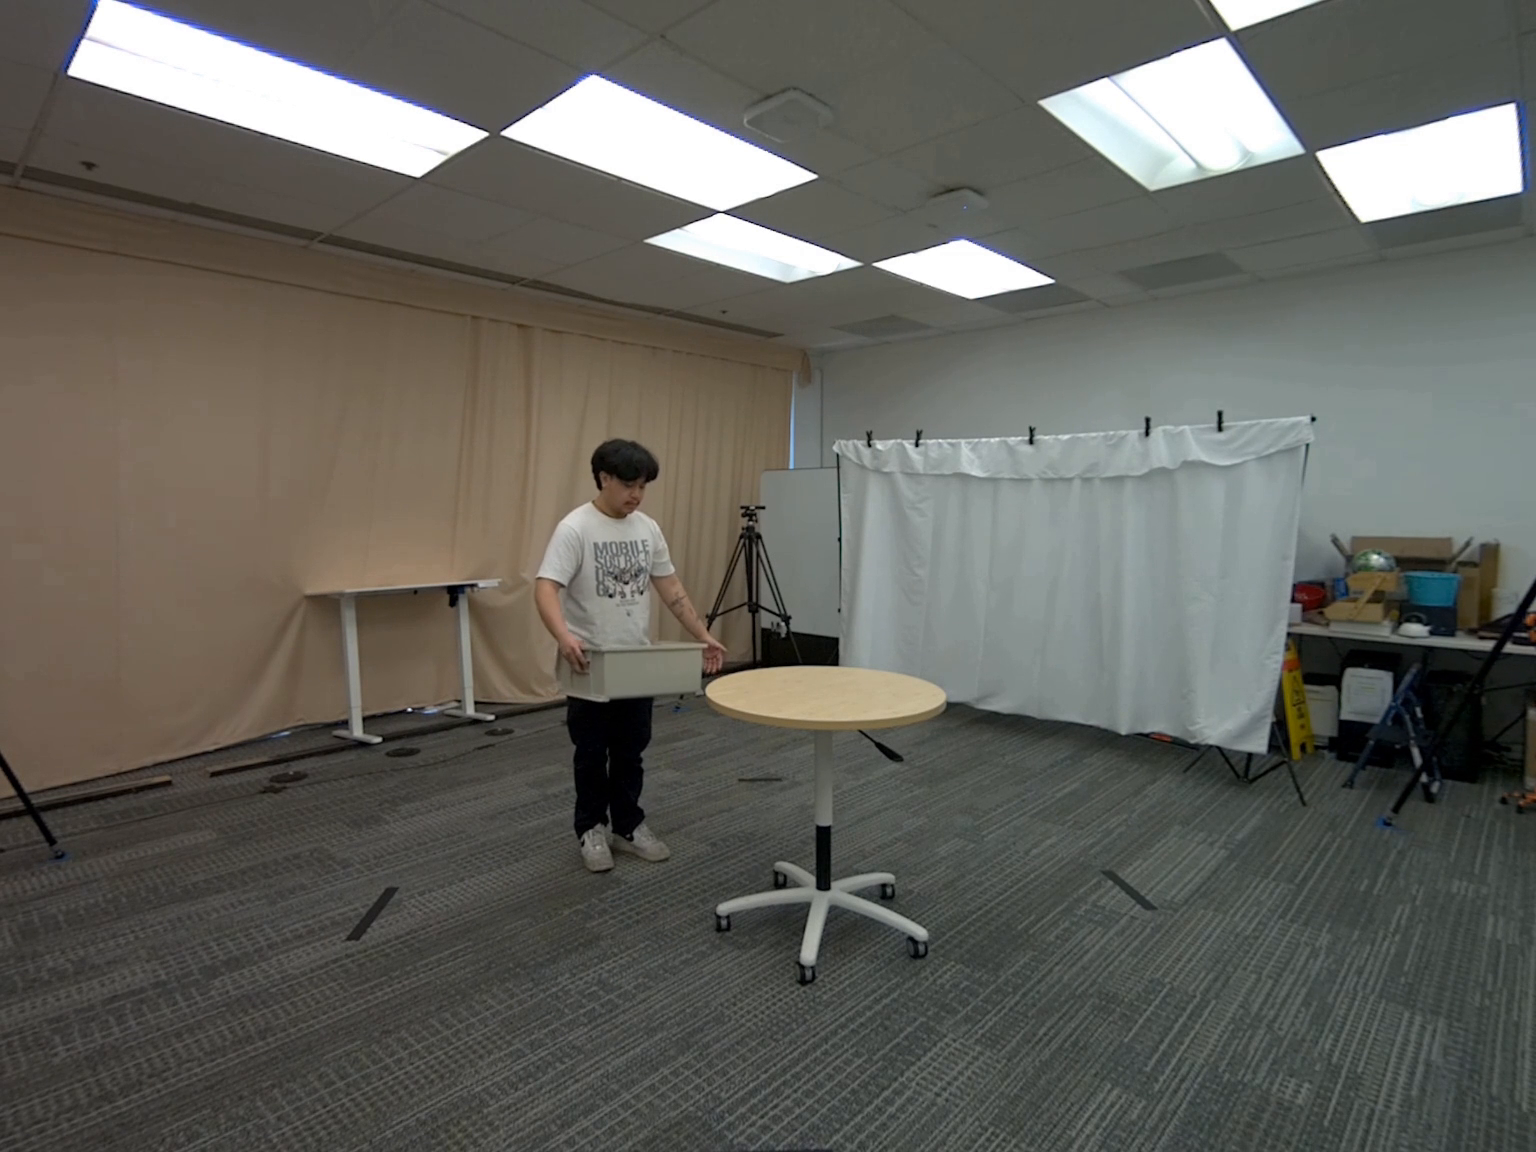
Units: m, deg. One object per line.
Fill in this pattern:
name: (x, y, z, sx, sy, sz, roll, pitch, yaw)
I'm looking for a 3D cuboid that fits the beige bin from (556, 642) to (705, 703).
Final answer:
beige bin: (-0.491, 0.334, 3.025, 0.409, 0.189, 0.389, 3, -2, -36)
